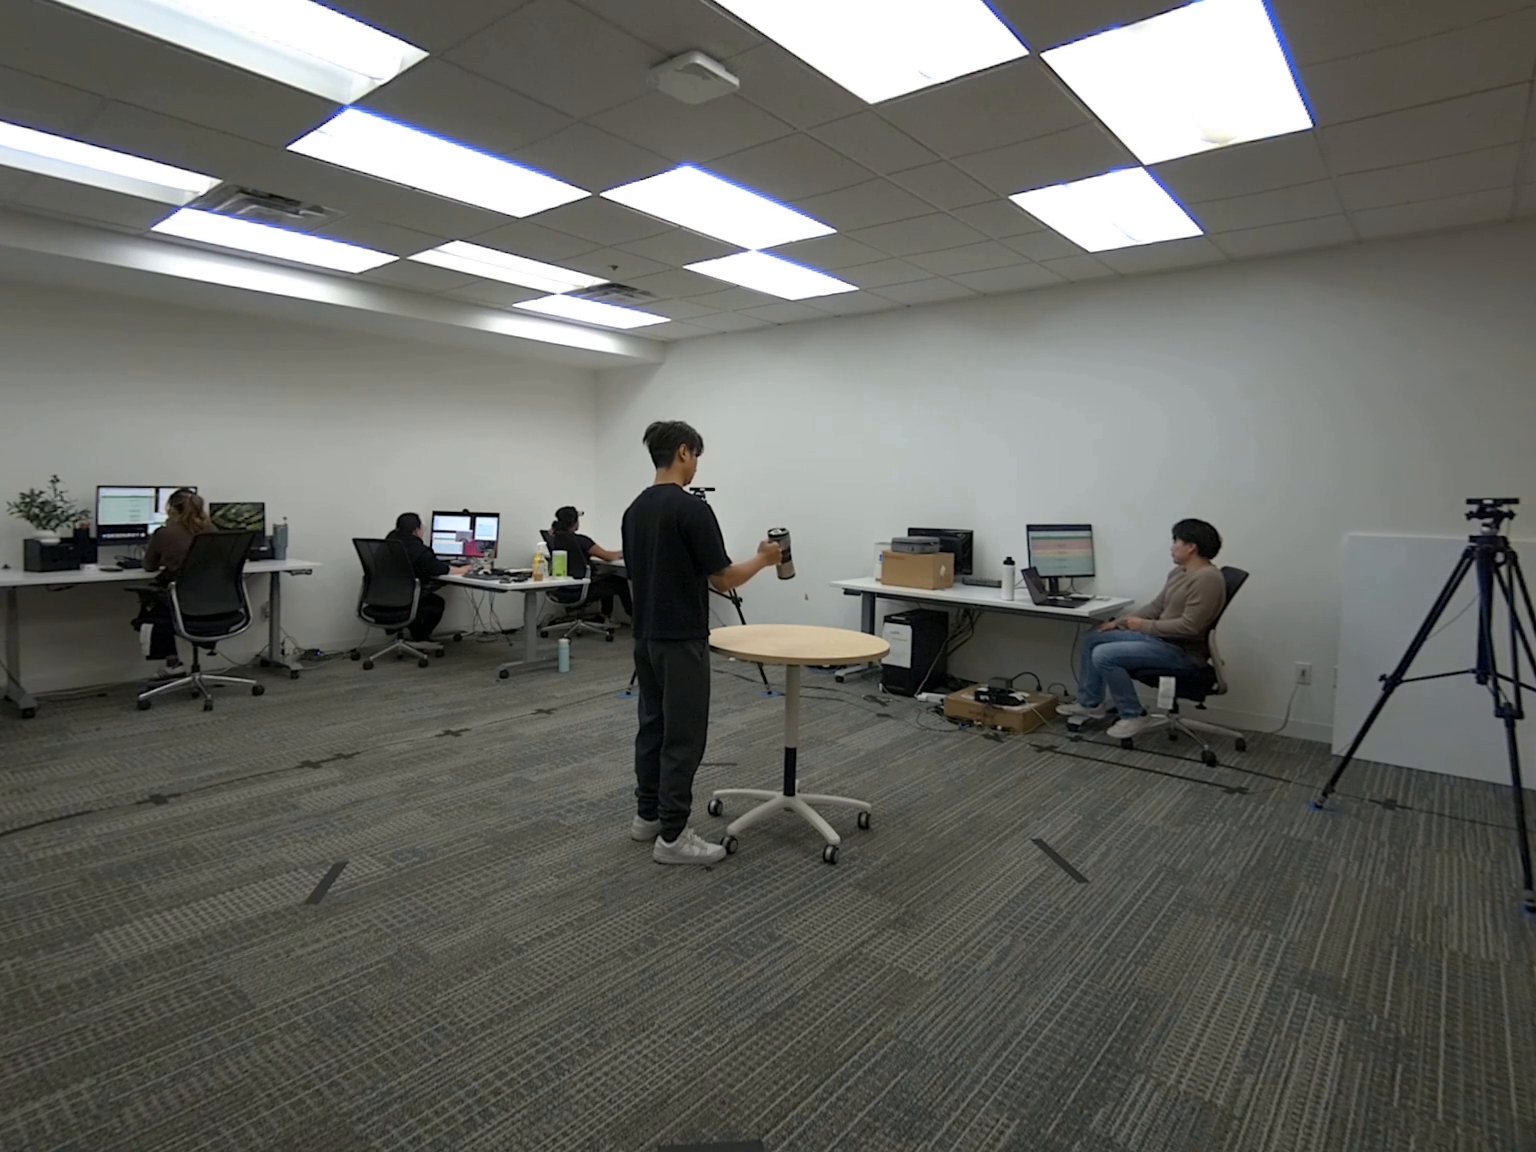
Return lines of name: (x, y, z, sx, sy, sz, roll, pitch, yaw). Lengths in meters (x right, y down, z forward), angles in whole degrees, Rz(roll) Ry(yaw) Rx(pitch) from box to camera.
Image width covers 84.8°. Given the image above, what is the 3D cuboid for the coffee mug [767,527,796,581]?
coffee mug: (0.028, -0.083, 3.401, 0.120, 0.199, 0.091, -17, 20, -24)
